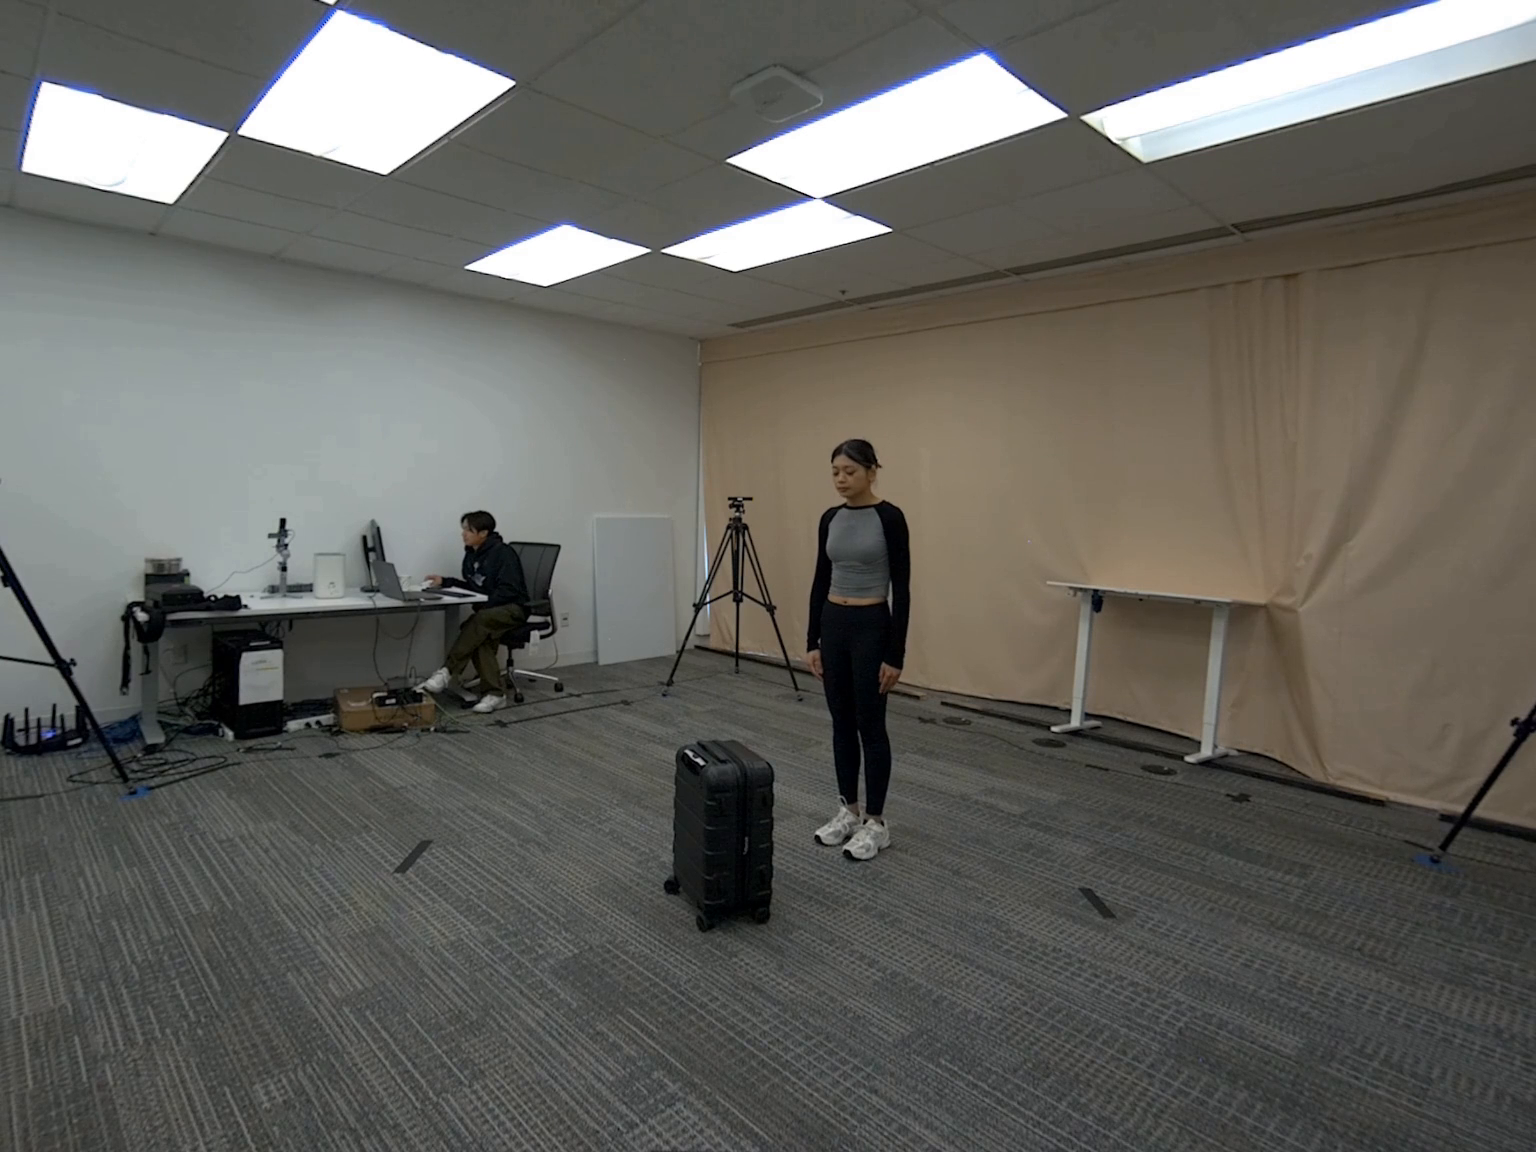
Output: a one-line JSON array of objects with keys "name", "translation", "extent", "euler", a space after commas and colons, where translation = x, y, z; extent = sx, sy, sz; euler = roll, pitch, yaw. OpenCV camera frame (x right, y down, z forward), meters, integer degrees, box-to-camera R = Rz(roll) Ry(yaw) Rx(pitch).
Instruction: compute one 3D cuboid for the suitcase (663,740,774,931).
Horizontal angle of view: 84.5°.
[{"name": "suitcase", "translation": [-0.162, 0.851, 2.862], "extent": [0.244, 0.548, 0.383], "euler": [1, 3, -25]}]
